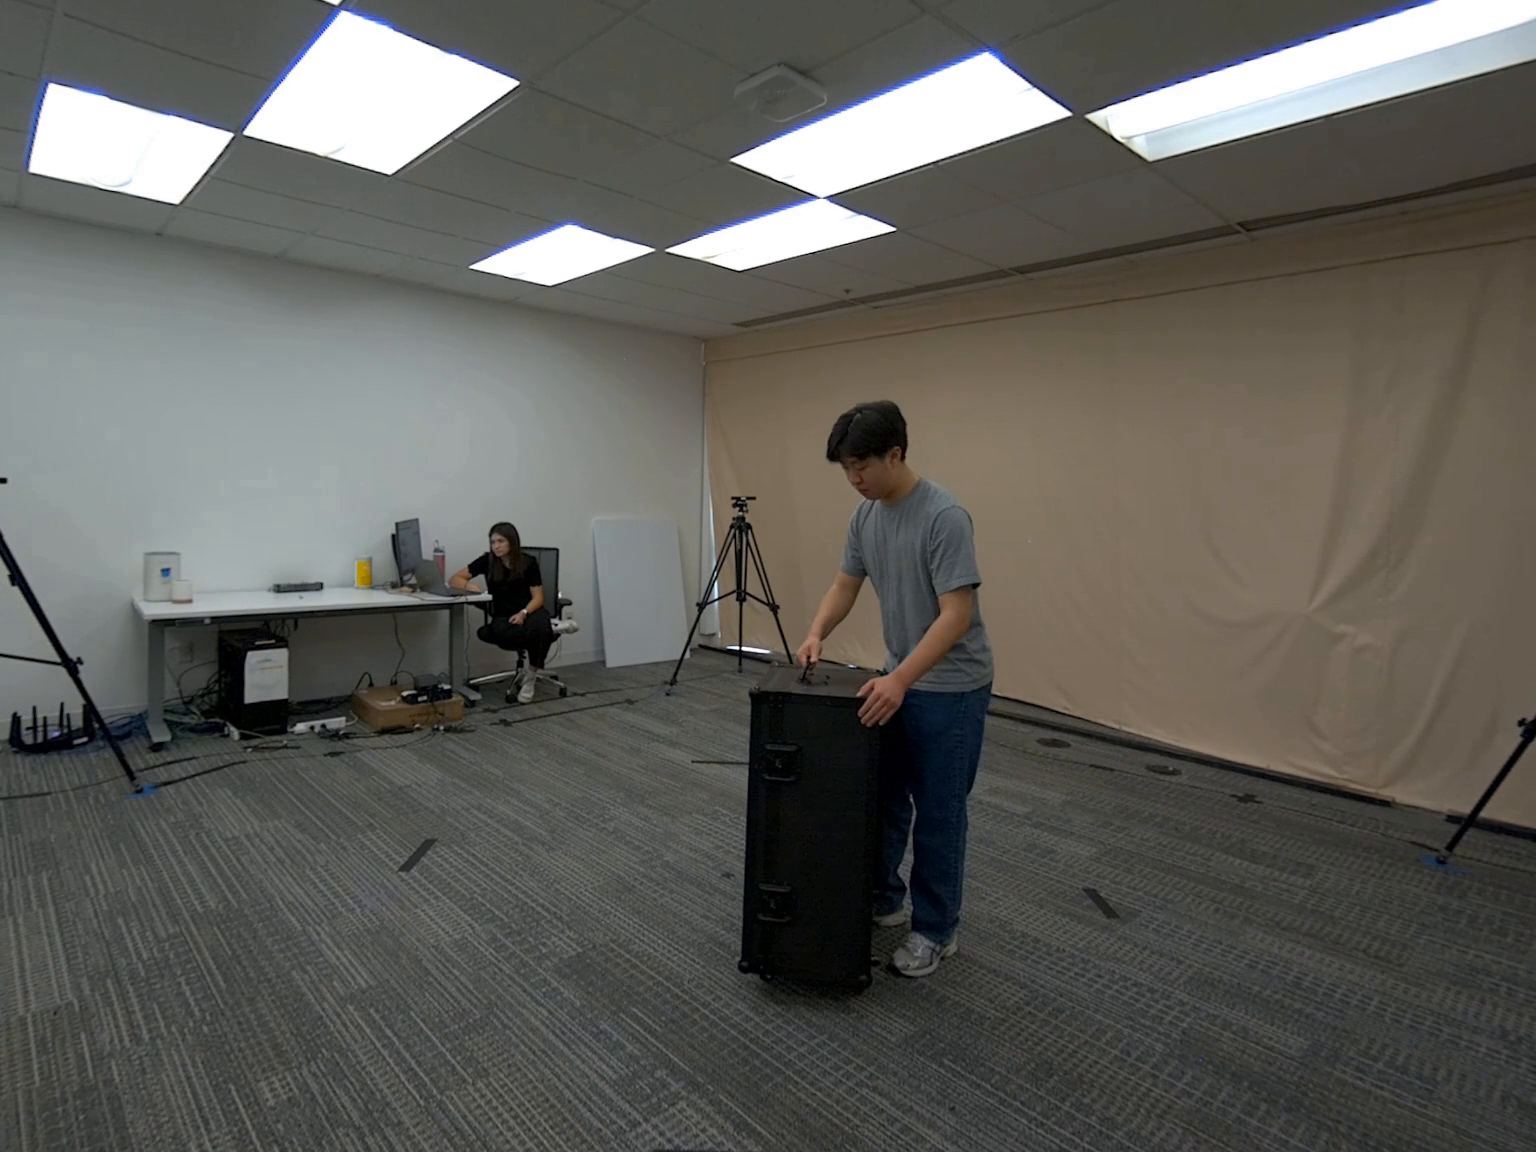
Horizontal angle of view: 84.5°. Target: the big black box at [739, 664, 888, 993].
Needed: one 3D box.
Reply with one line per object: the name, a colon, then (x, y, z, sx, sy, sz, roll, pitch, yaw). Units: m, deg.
big black box: (0.145, 0.735, 2.515, 0.400, 0.861, 0.517, 2, 1, 9)
